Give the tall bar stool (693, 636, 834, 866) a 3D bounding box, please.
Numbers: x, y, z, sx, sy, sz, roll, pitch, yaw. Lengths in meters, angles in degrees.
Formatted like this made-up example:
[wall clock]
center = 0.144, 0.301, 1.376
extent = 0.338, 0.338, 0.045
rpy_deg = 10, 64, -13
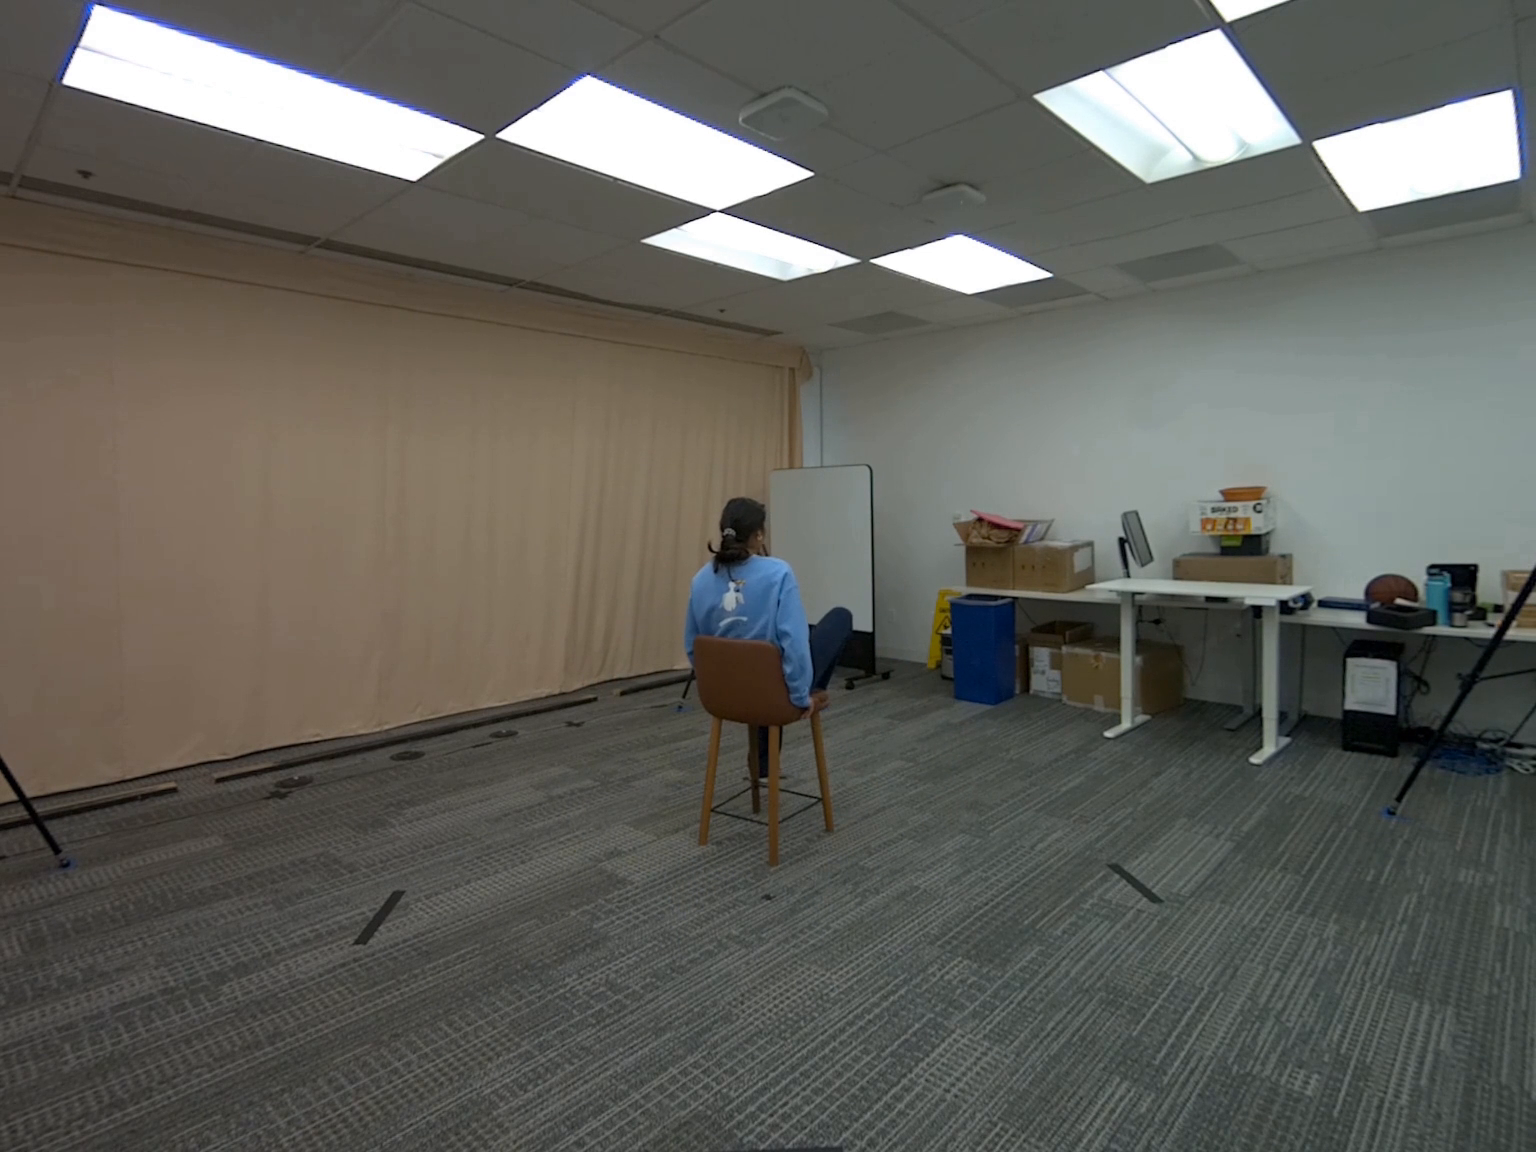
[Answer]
[tall bar stool]
center = -0.019, 0.657, 3.495
extent = 0.471, 0.887, 0.455
rpy_deg = 1, 6, 35
